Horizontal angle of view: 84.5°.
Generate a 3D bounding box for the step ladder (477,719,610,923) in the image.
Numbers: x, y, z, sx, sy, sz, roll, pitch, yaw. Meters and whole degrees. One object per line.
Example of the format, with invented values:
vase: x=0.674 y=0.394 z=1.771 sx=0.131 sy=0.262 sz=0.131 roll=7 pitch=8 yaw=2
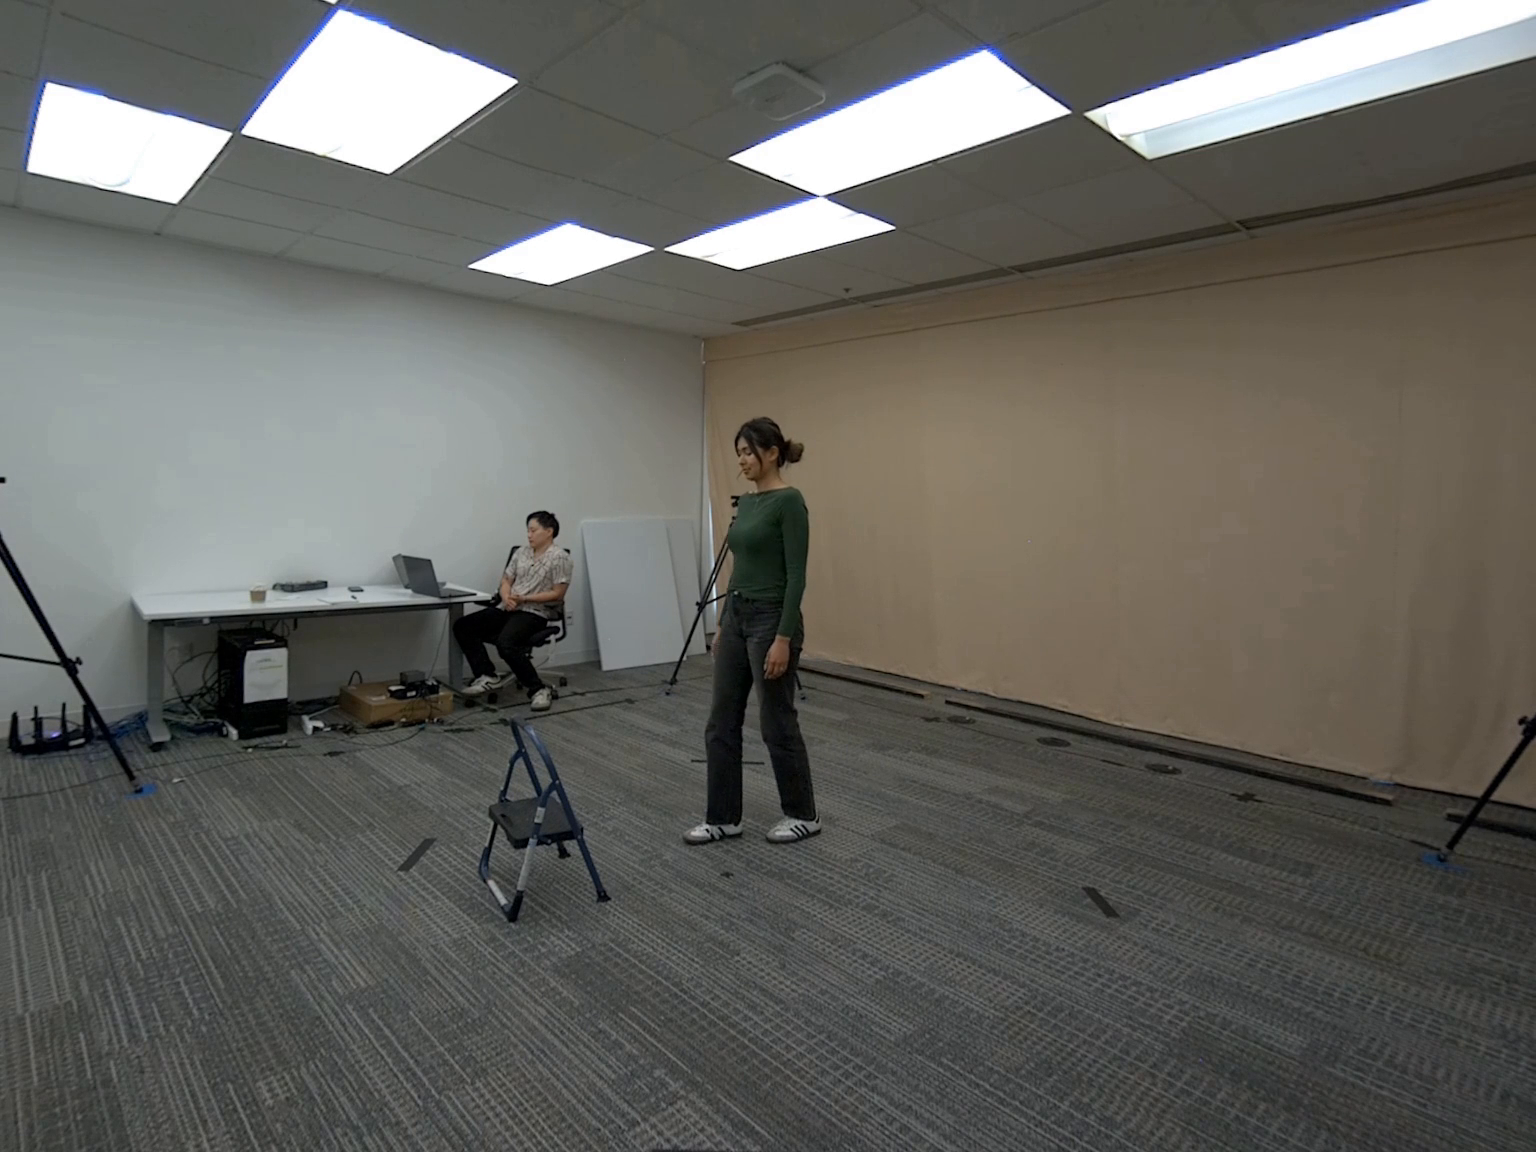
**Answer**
step ladder: x=-0.801 y=0.798 z=2.961 sx=0.342 sy=0.604 sz=0.441 roll=-1 pitch=4 yaw=-33
